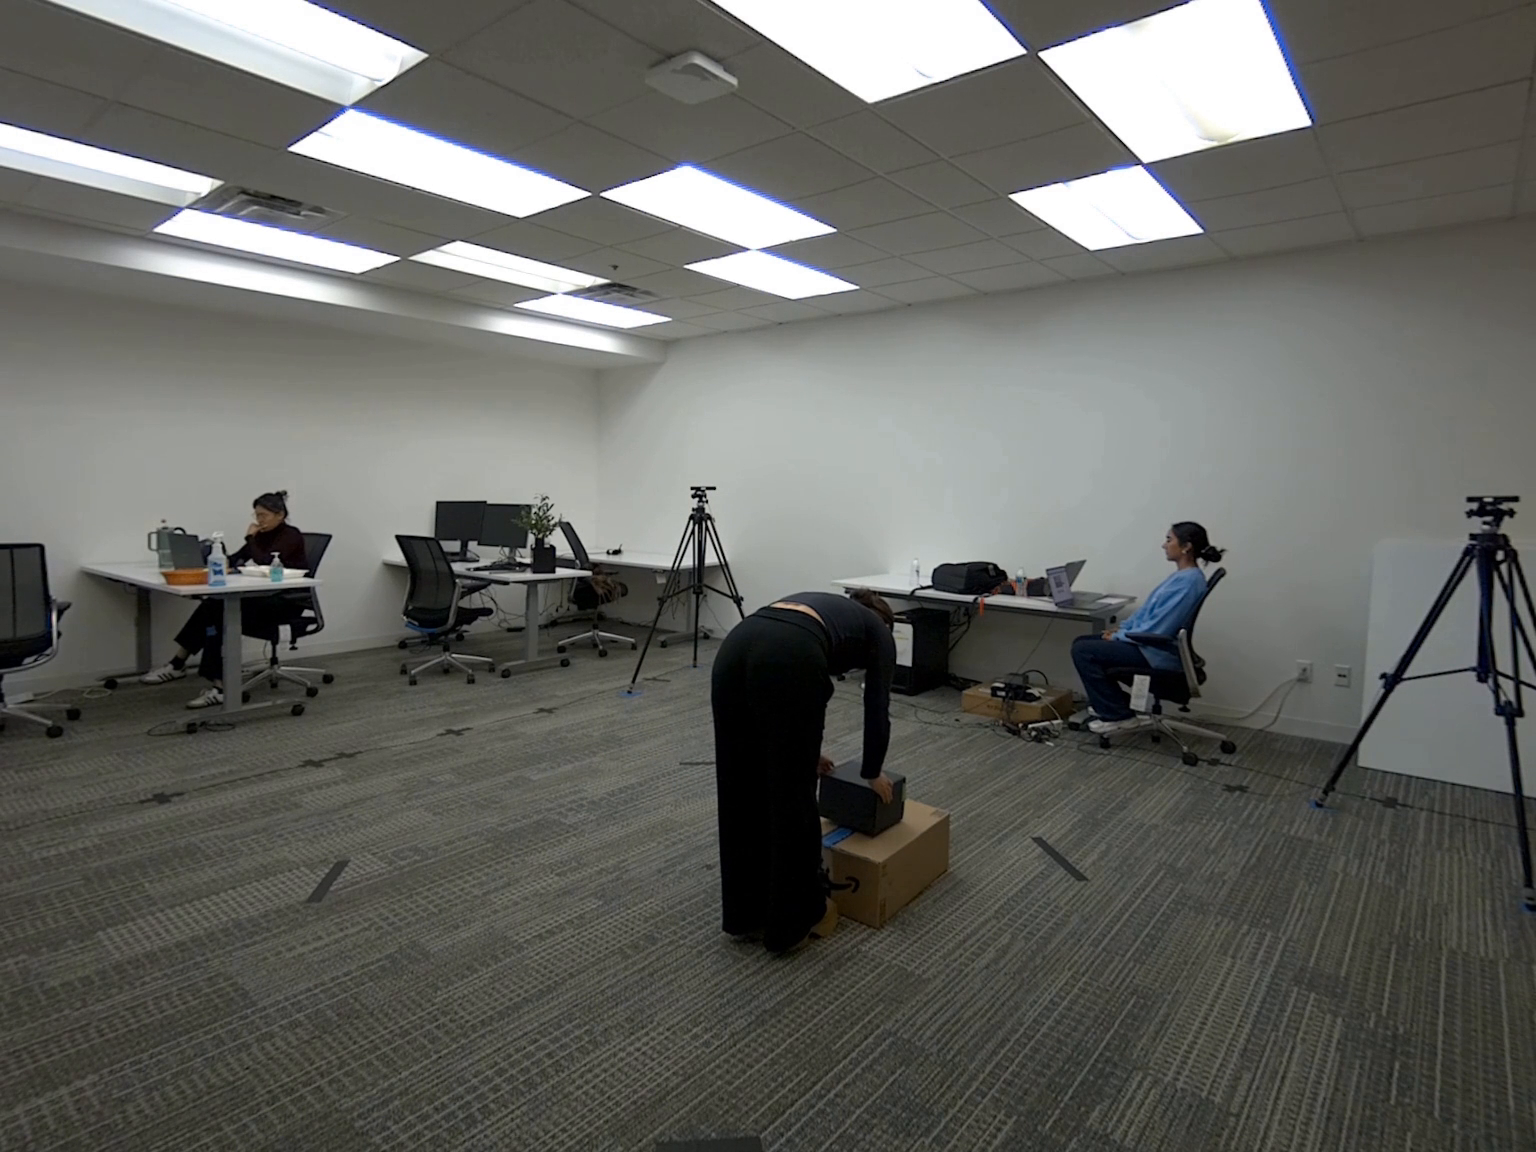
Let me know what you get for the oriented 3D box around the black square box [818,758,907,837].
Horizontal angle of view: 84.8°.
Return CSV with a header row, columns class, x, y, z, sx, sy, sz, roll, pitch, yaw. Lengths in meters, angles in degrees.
class,x,y,z,sx,sy,sz,roll,pitch,yaw
black square box,0.328,0.776,3.005,0.236,0.155,0.210,8,7,37
